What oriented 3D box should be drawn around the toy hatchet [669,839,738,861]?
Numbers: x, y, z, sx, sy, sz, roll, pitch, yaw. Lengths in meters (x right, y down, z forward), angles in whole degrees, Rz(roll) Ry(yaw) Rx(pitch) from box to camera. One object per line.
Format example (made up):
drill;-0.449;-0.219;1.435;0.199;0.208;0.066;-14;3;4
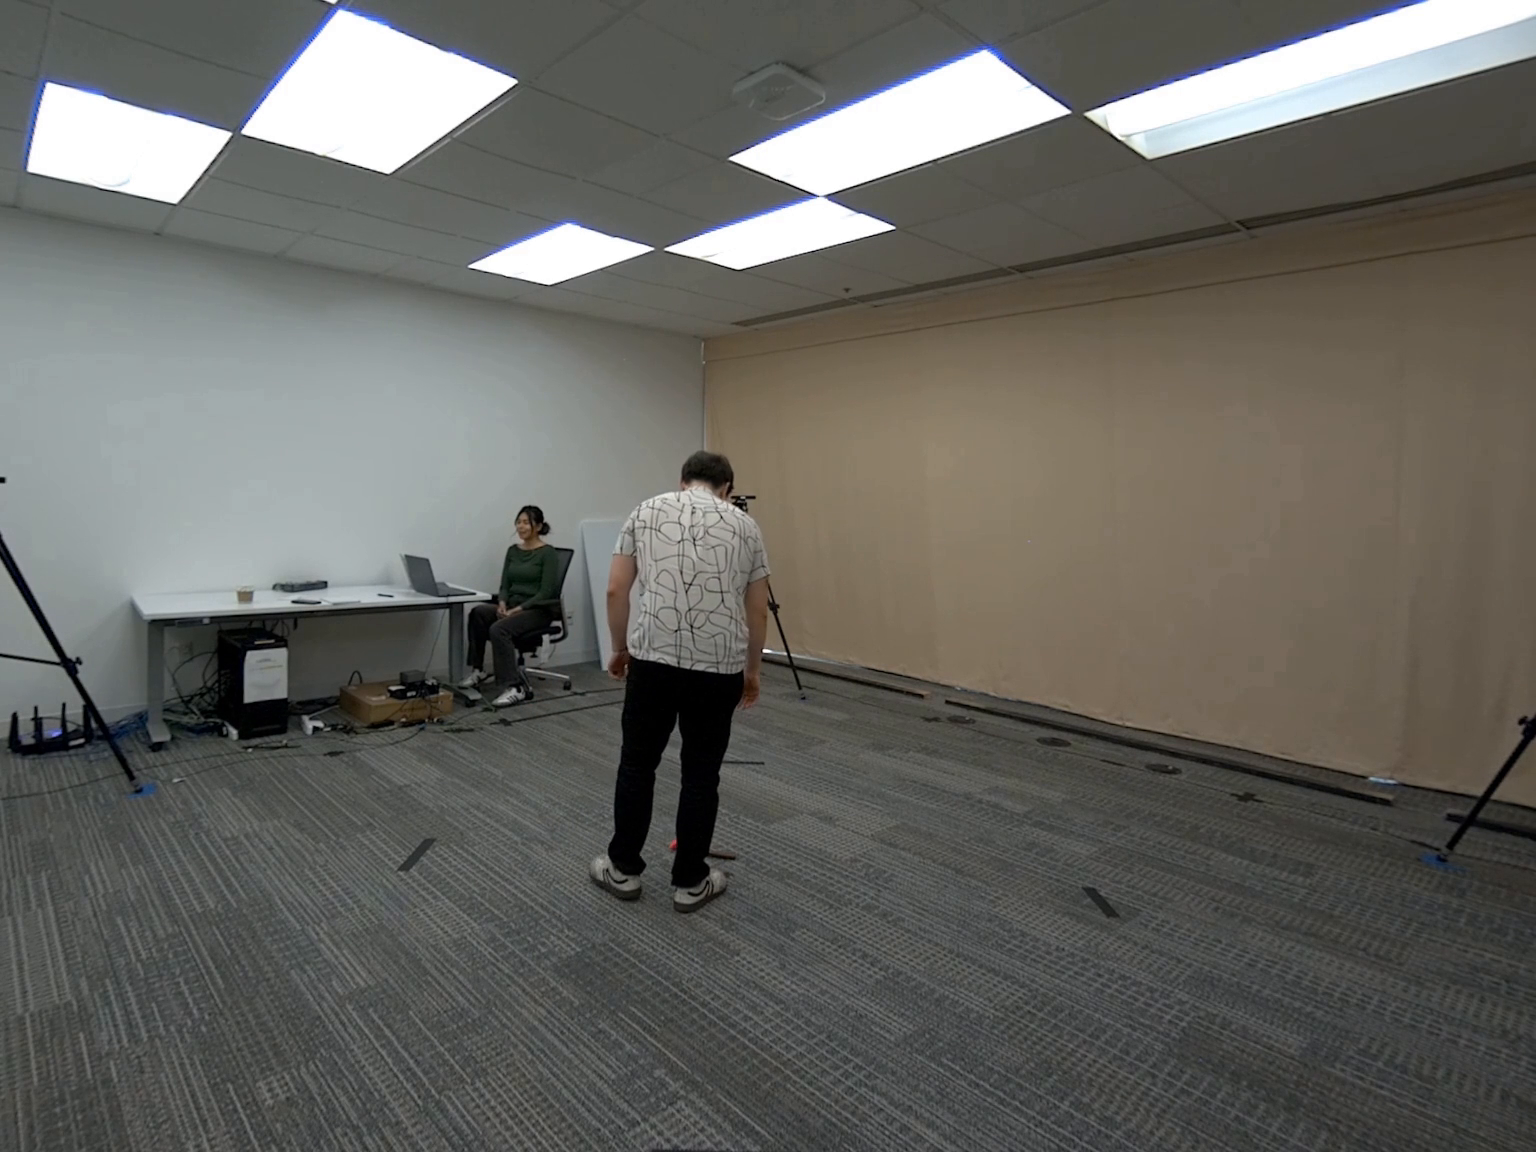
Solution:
toy hatchet;-0.254;1.075;3.313;0.273;0.029;0.129;6;0;12
